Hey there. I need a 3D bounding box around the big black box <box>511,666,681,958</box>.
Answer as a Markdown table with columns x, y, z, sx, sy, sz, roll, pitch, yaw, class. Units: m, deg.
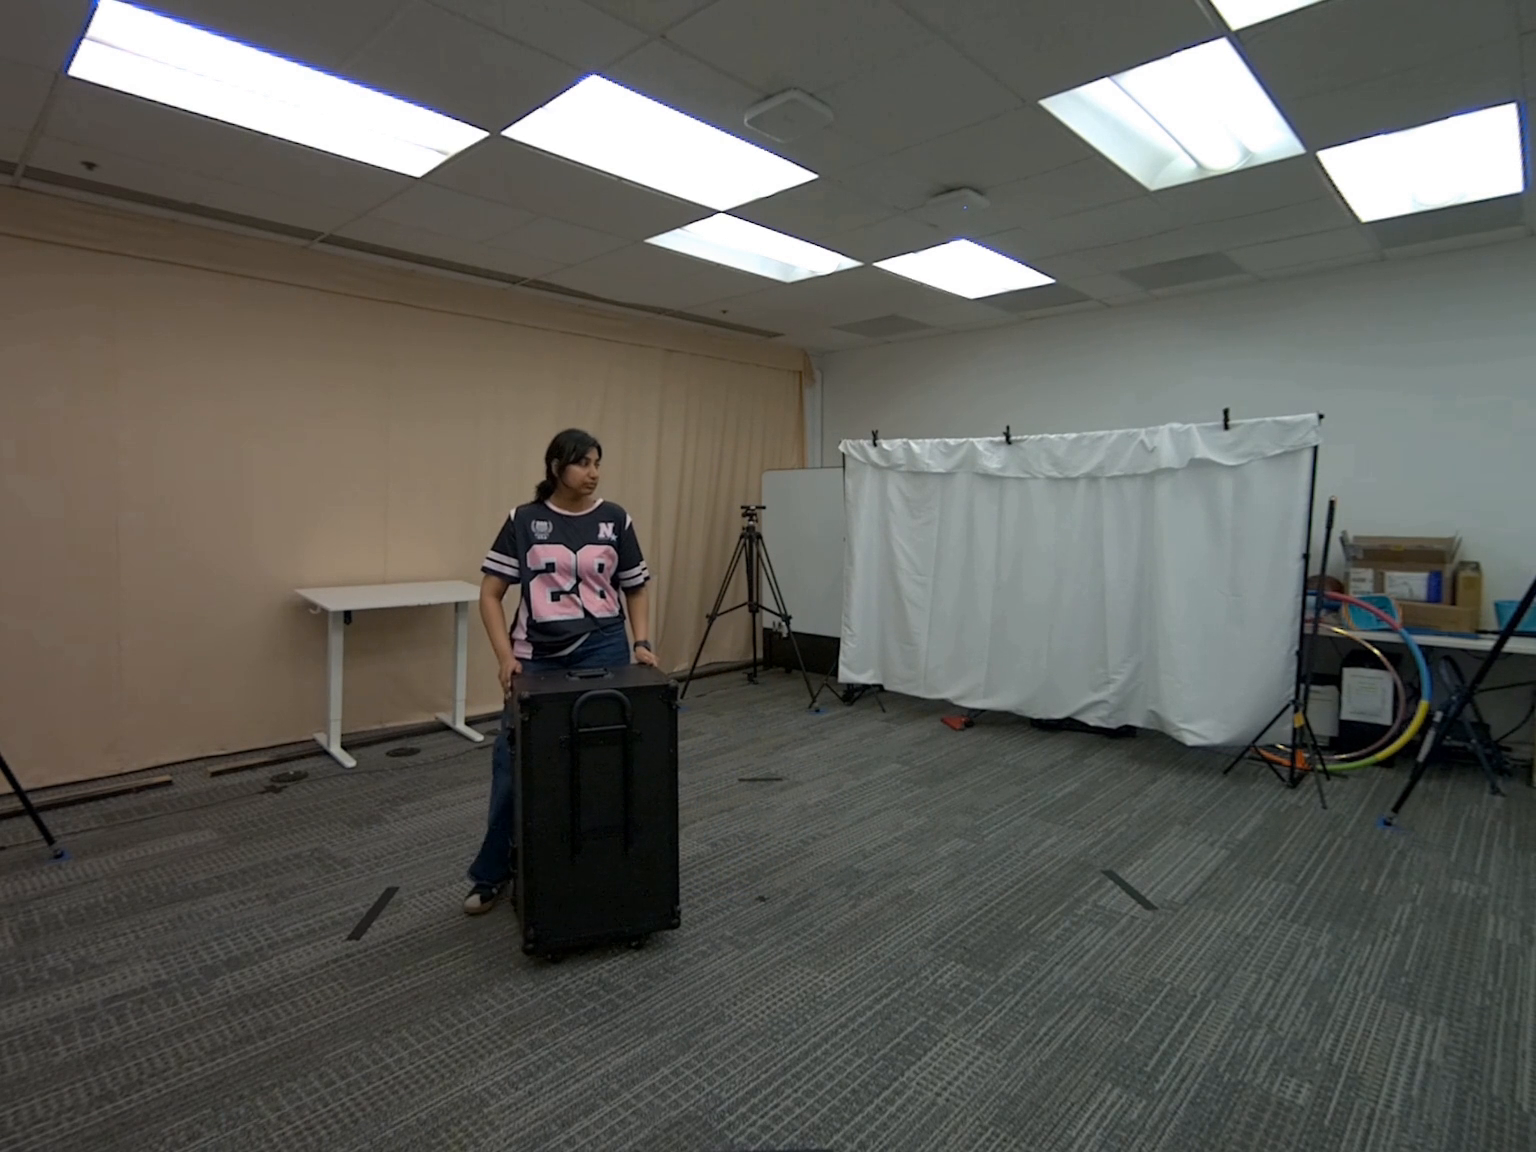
| x | y | z | sx | sy | sz | roll | pitch | yaw | class |
| --- | --- | --- | --- | --- | --- | --- | --- | --- | --- |
| -0.555 | 0.748 | 2.702 | 0.513 | 0.867 | 0.394 | -1 | 3 | -21 | big black box |
